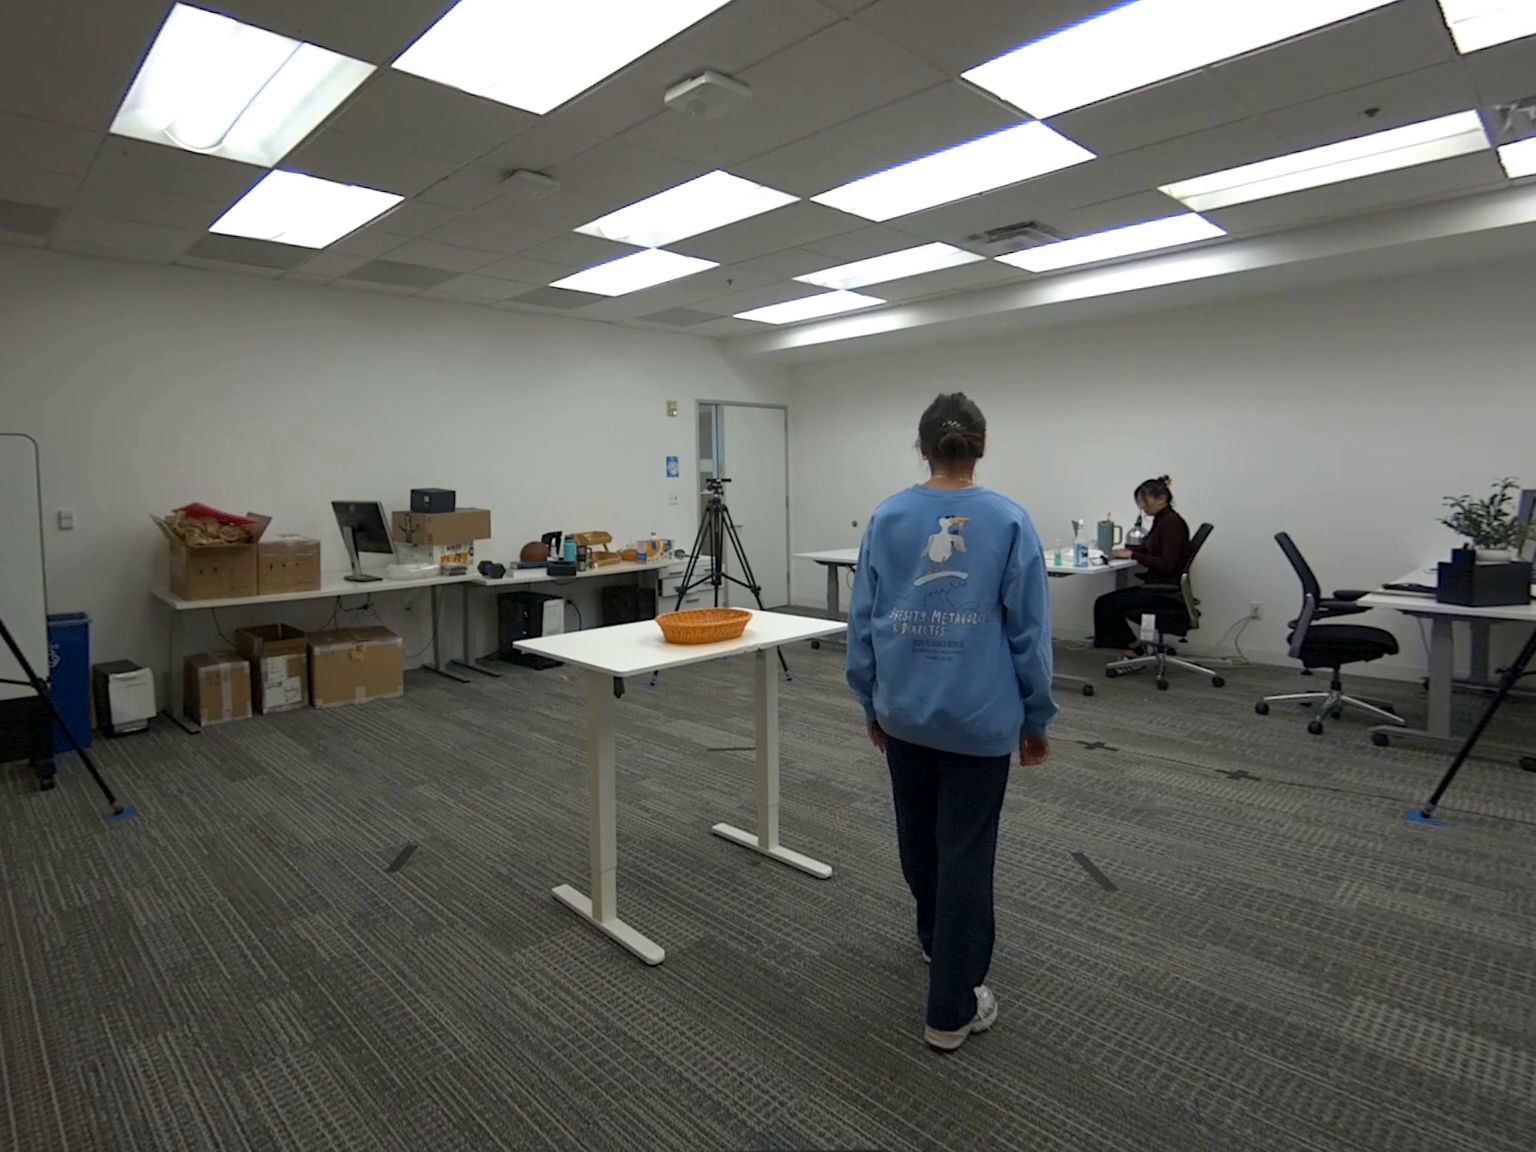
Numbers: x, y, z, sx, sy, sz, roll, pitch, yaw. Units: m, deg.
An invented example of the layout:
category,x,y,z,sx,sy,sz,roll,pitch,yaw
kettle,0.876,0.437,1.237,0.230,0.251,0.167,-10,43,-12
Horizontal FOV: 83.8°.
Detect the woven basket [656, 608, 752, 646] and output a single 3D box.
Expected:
category,x,y,z,sx,sy,sz,roll,pitch,yaw
woven basket,-0.202,0.172,2.790,0.341,0.073,0.260,-6,9,-41
